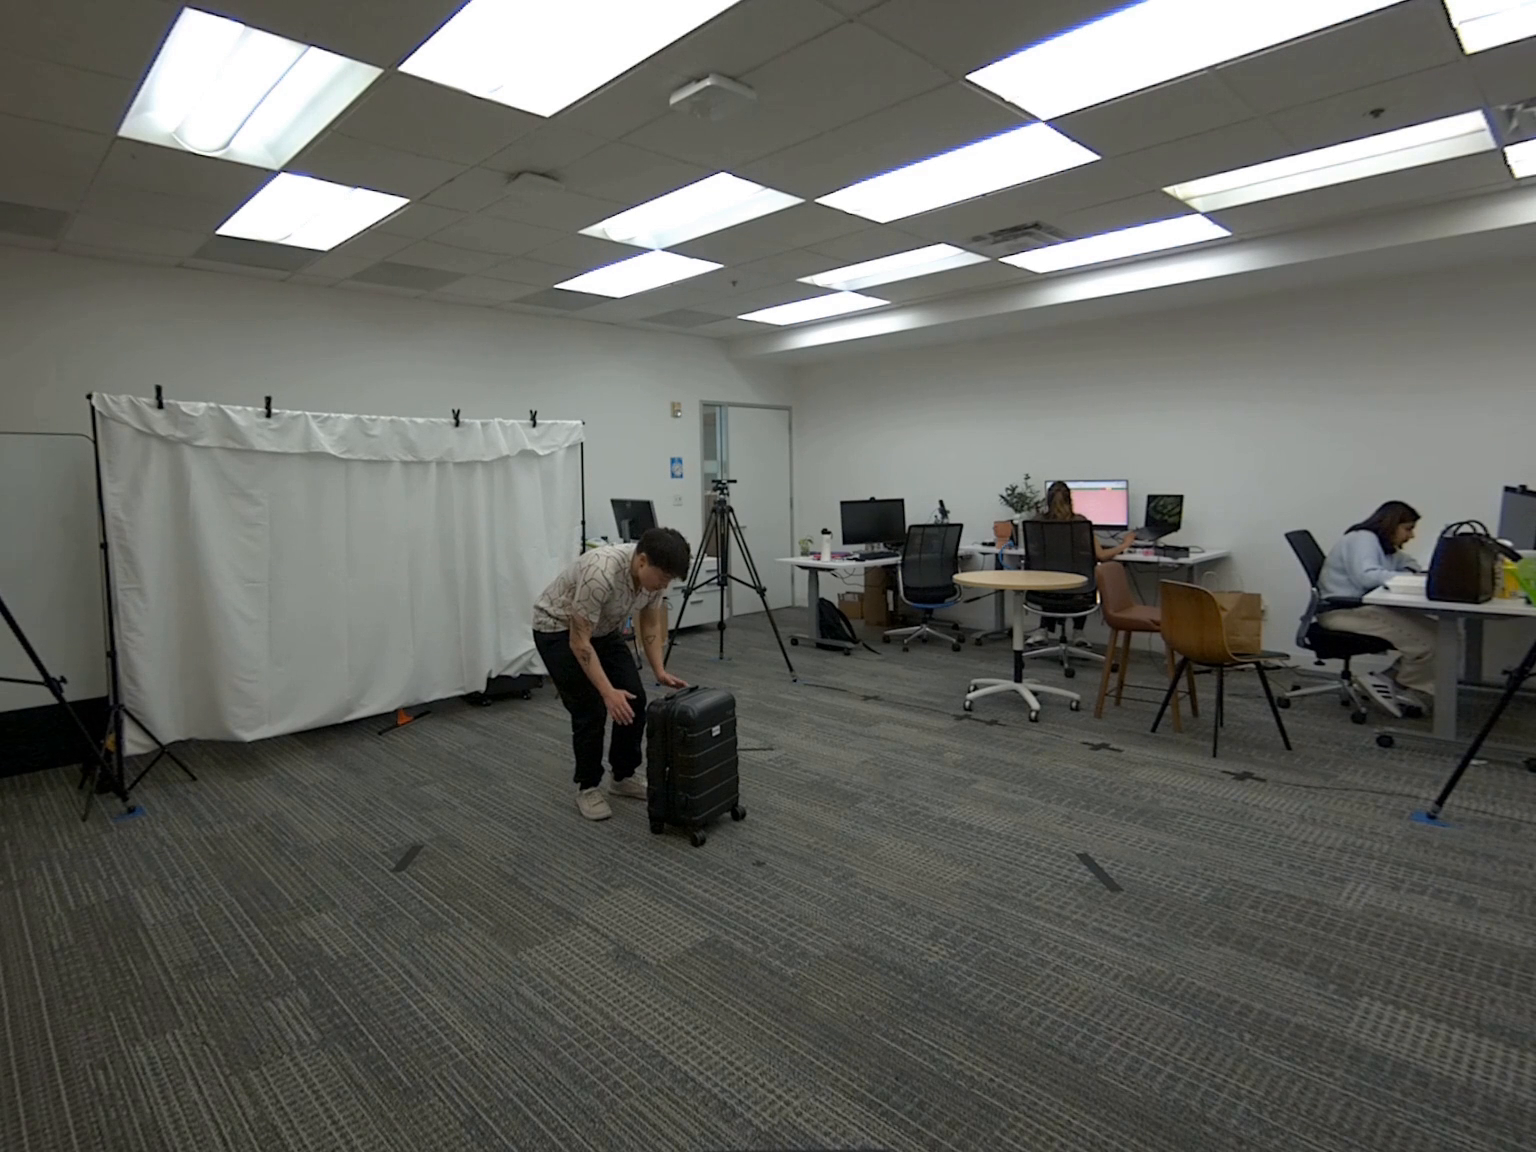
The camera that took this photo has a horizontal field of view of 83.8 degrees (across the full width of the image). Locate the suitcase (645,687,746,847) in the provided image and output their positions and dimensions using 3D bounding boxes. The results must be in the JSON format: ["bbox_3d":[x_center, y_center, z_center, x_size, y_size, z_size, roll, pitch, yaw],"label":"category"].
[{"bbox_3d":[-0.303,0.738,3.455,0.255,0.548,0.366,0,3,32],"label":"suitcase"}]
